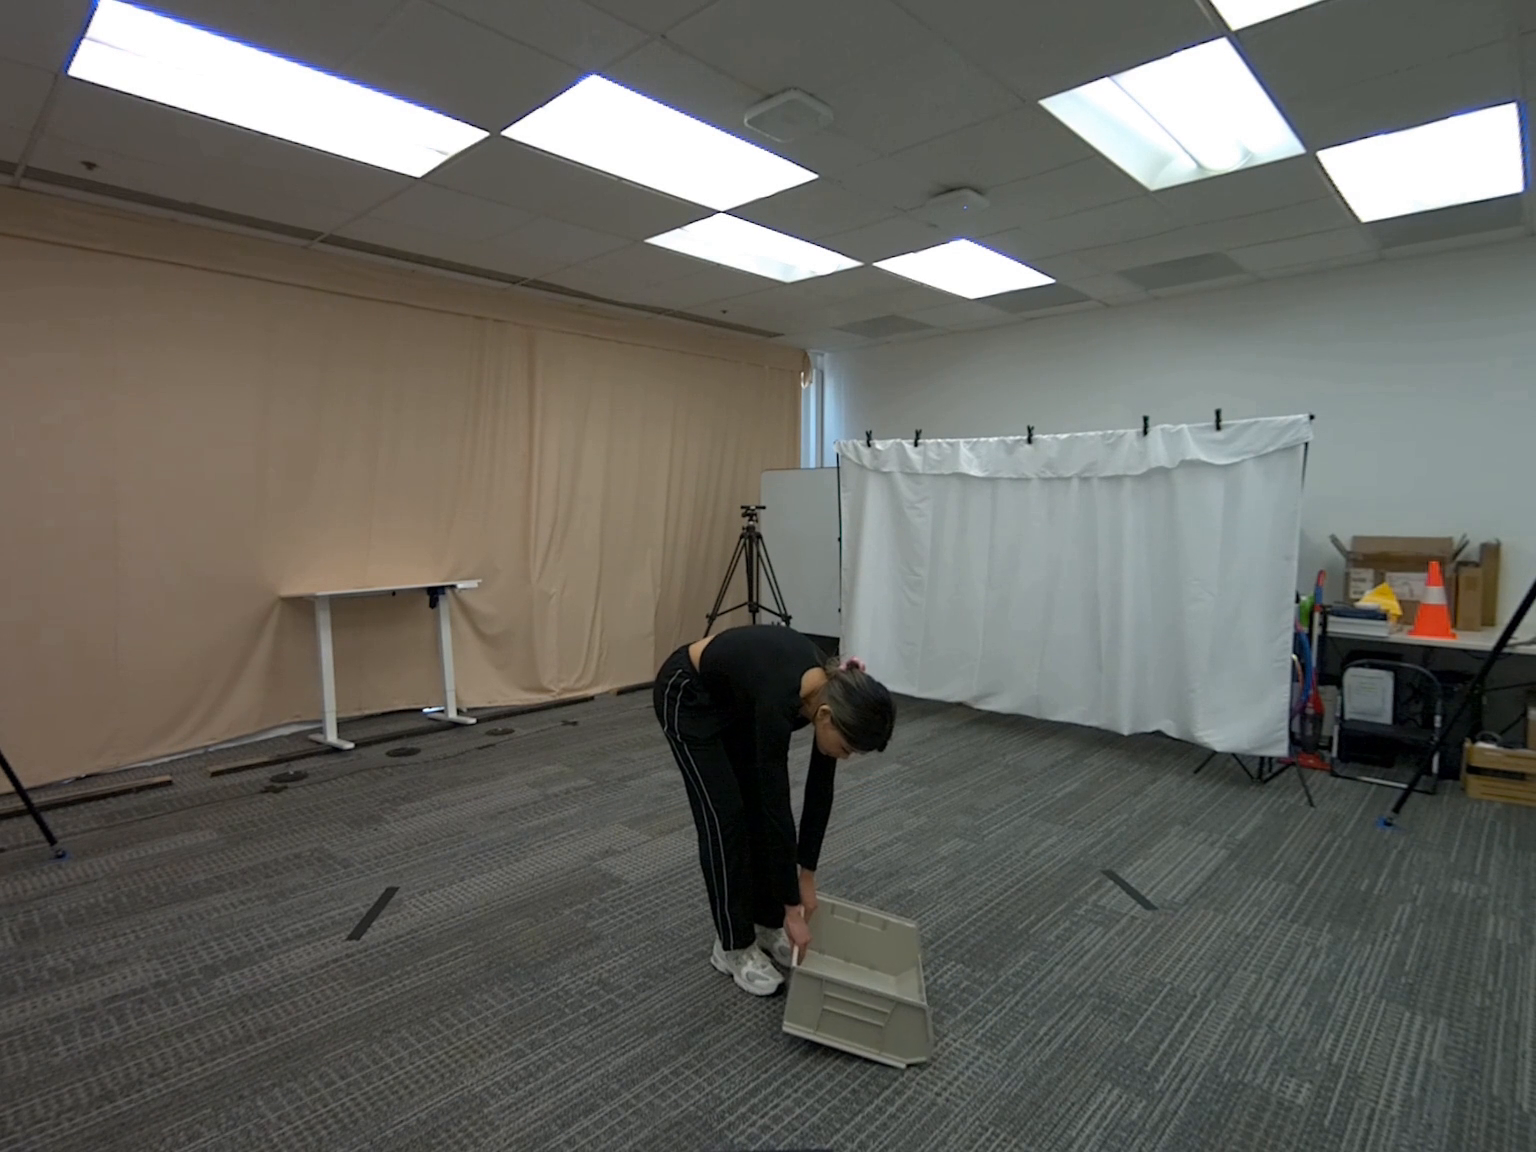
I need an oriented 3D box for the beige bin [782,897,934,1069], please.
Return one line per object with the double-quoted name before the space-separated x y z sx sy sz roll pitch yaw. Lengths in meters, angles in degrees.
"beige bin" 0.262 1.086 2.286 0.380 0.188 0.421 10 7 5
